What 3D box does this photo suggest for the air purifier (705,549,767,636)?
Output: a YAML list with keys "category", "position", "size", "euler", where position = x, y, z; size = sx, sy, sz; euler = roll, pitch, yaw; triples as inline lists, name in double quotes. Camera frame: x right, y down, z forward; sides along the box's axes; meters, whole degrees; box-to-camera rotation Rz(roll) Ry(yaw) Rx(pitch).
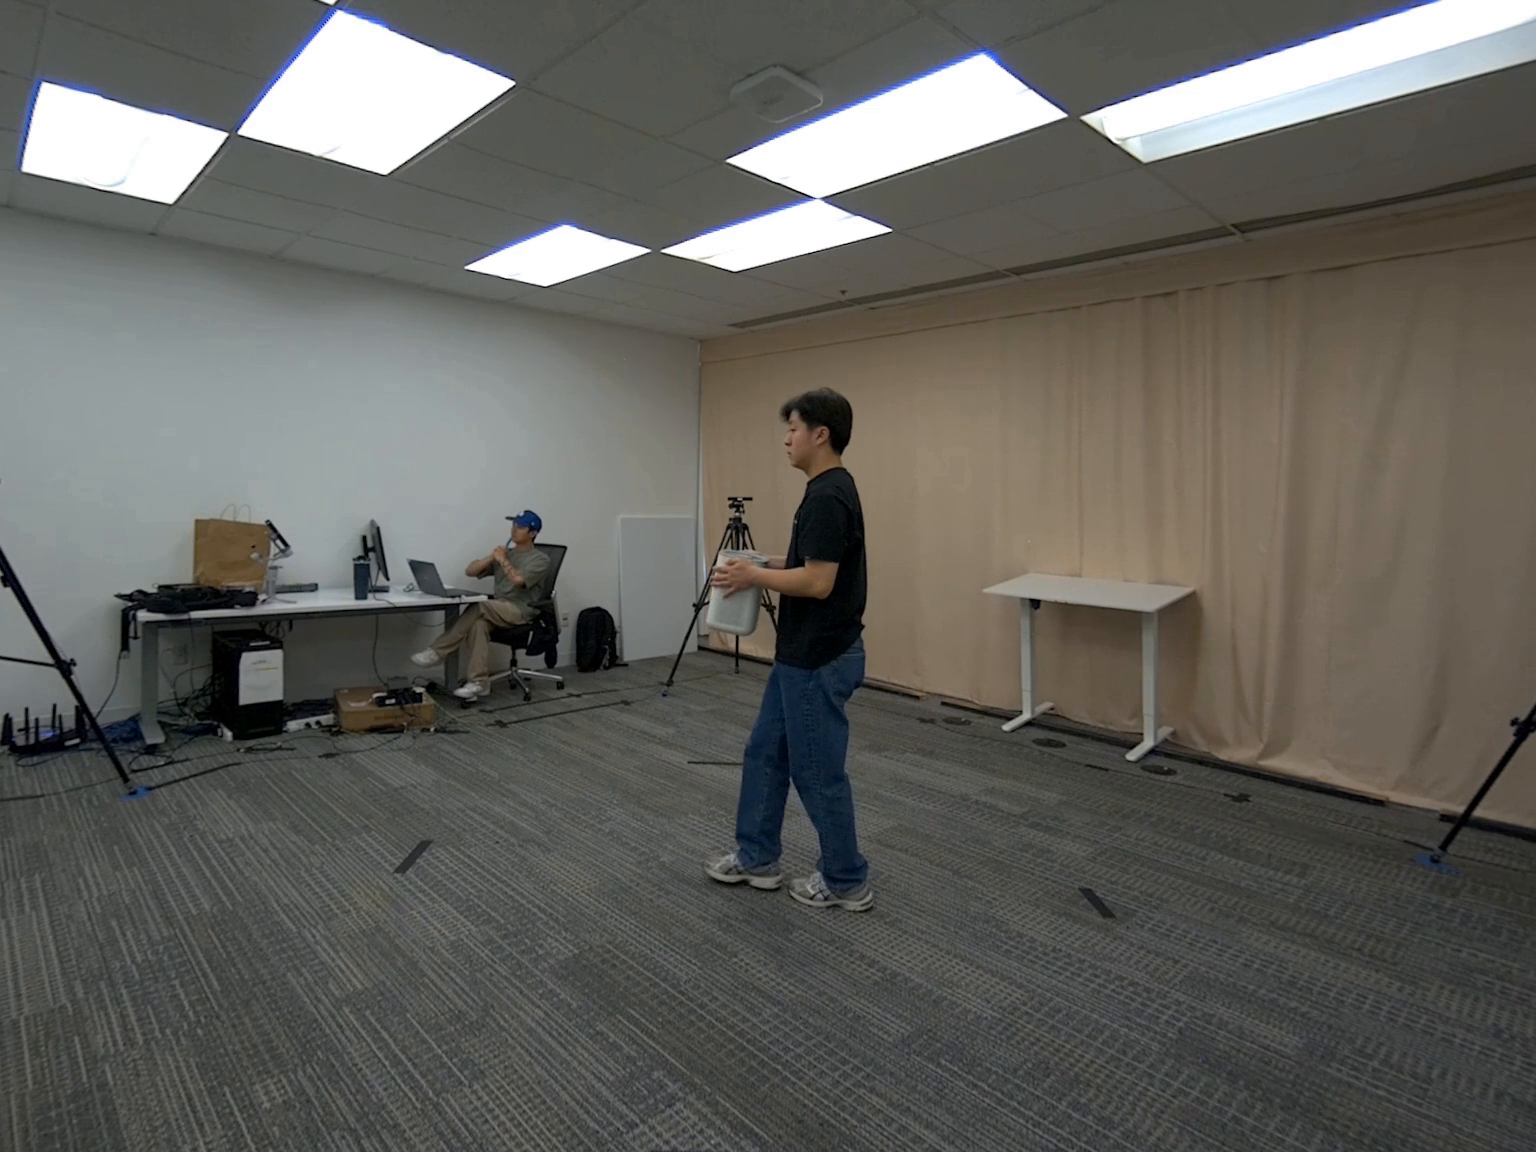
- category: "air purifier"
  position: [-0.107, 0.061, 2.887]
  size: [0.173, 0.264, 0.170]
  euler: [12, 8, 8]
